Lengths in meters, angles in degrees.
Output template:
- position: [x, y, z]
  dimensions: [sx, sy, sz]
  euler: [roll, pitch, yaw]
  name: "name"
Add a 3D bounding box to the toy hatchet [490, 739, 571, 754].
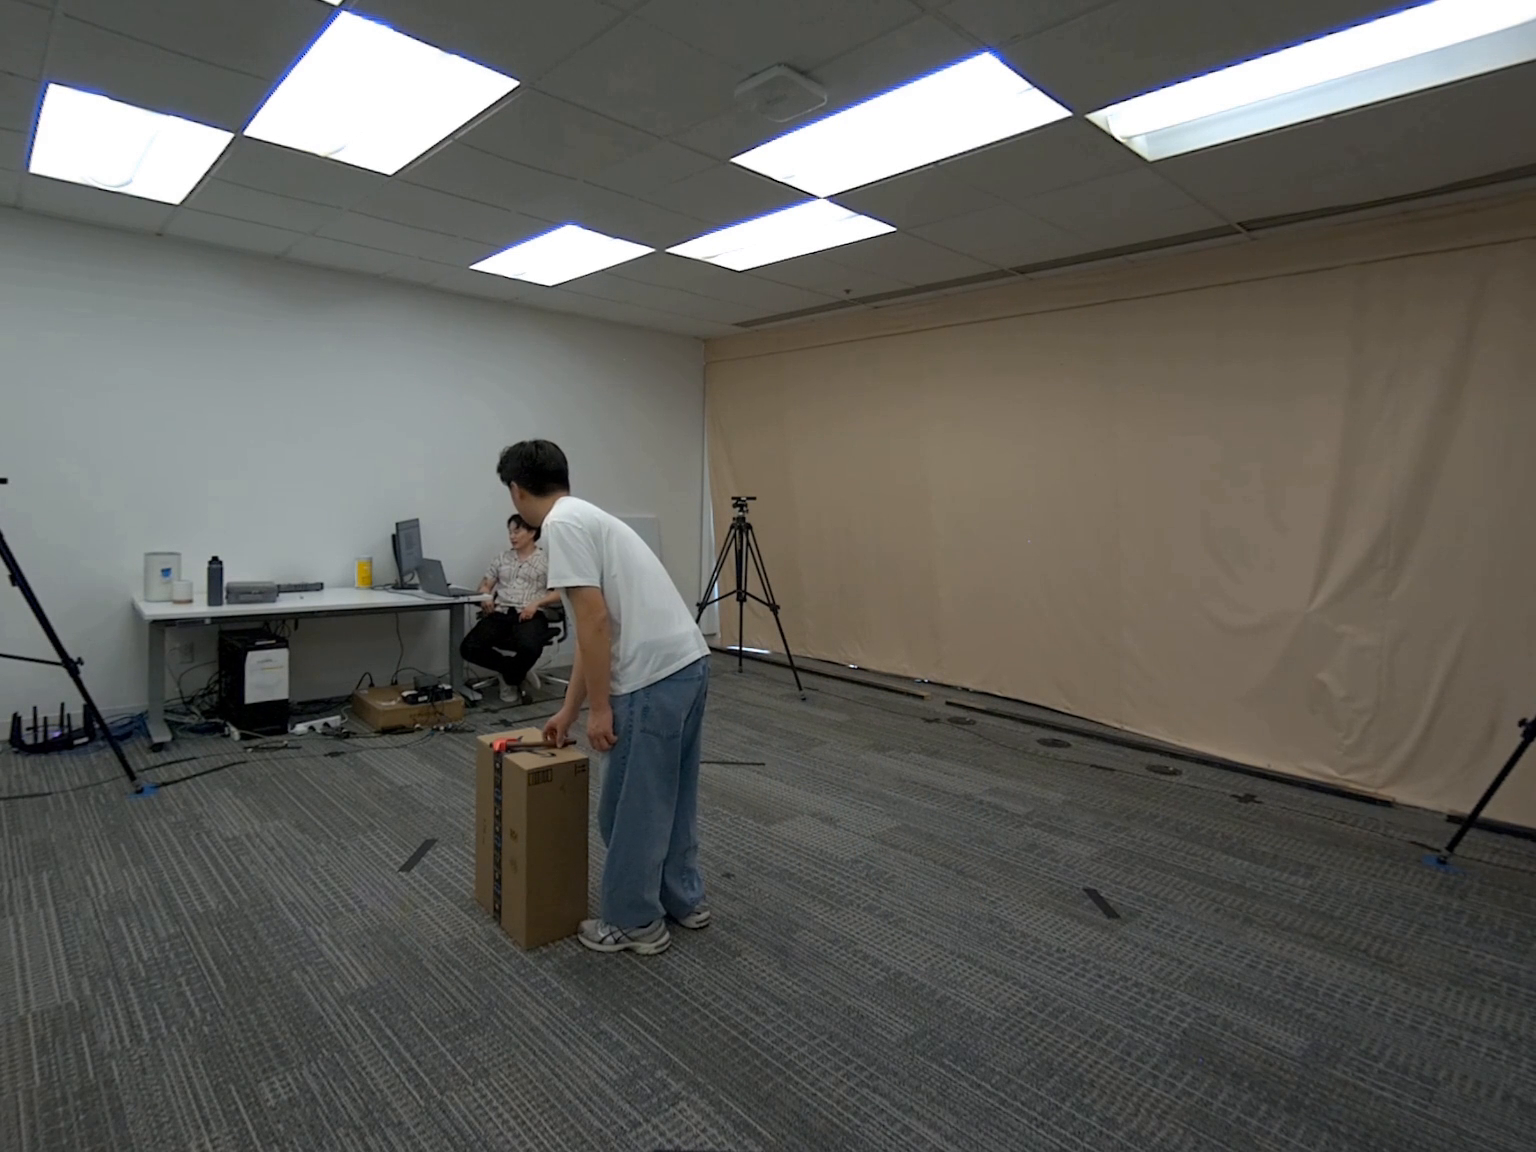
- position: [-0.777, 0.547, 2.766]
  dimensions: [0.265, 0.029, 0.133]
  euler: [1, 1, -27]
  name: "toy hatchet"
